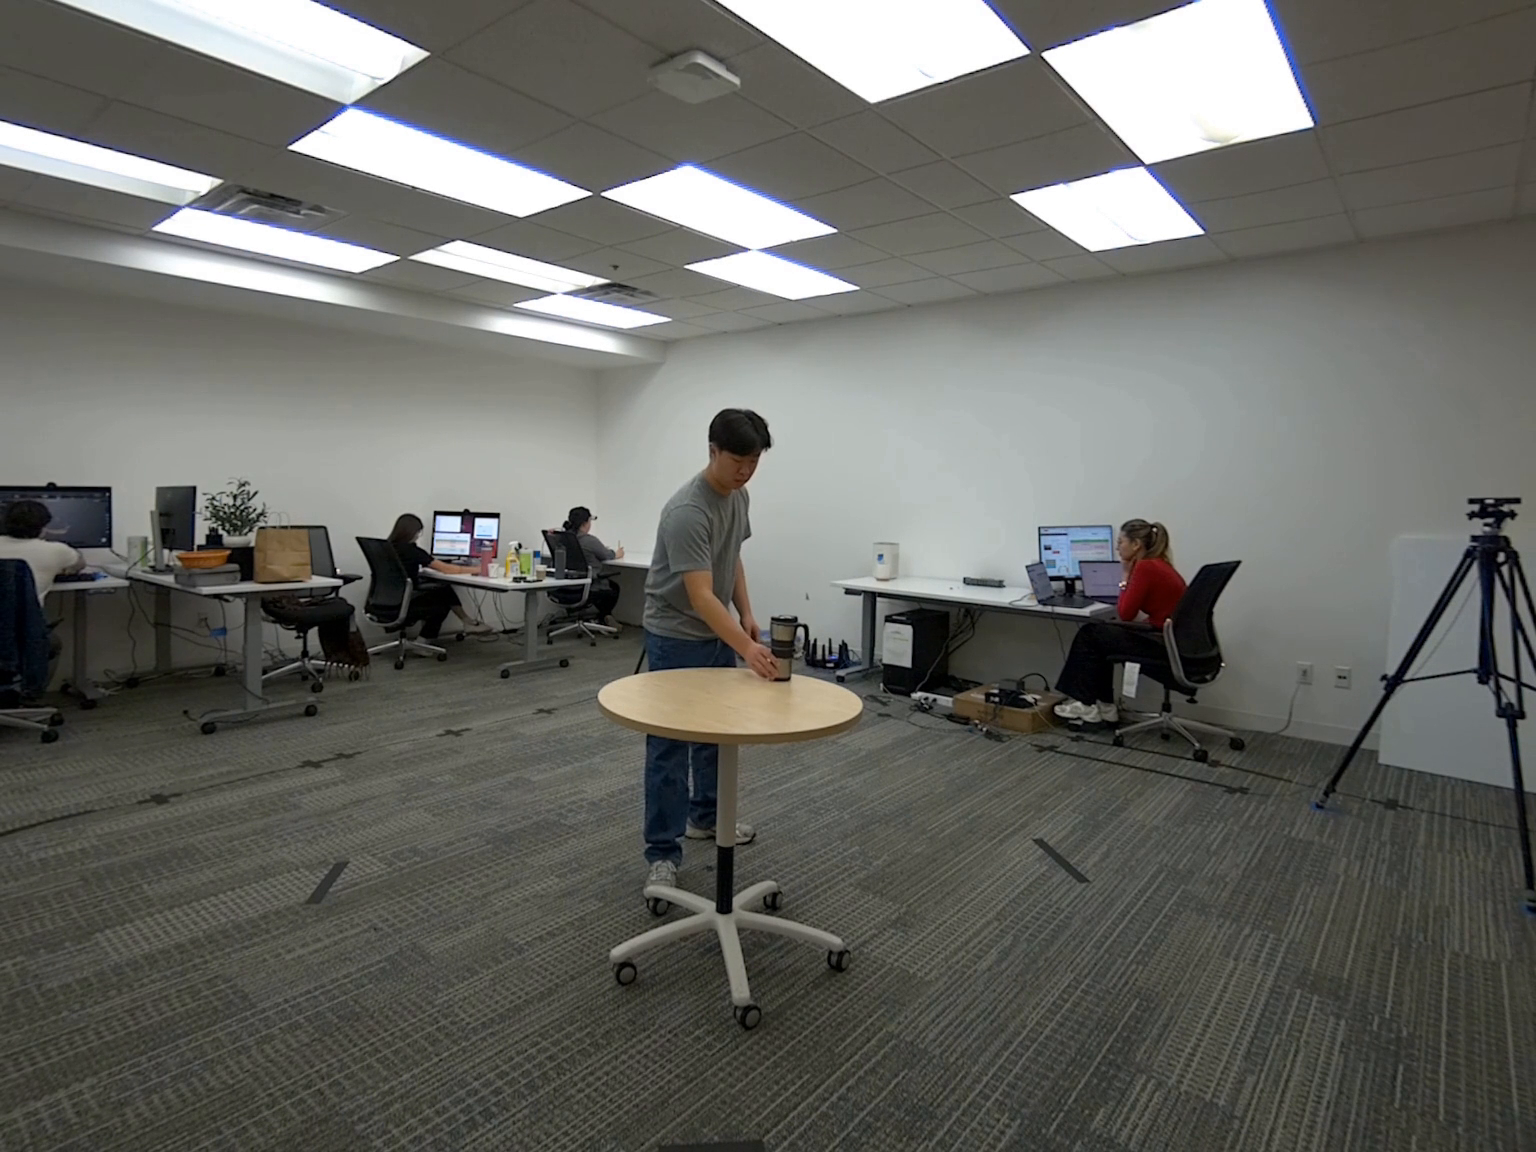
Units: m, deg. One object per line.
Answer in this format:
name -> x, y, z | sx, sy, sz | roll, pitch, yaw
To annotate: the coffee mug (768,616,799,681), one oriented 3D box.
coffee mug -> 0.048, 0.224, 2.686 | 0.125, 0.203, 0.085 | 2, 2, 30
